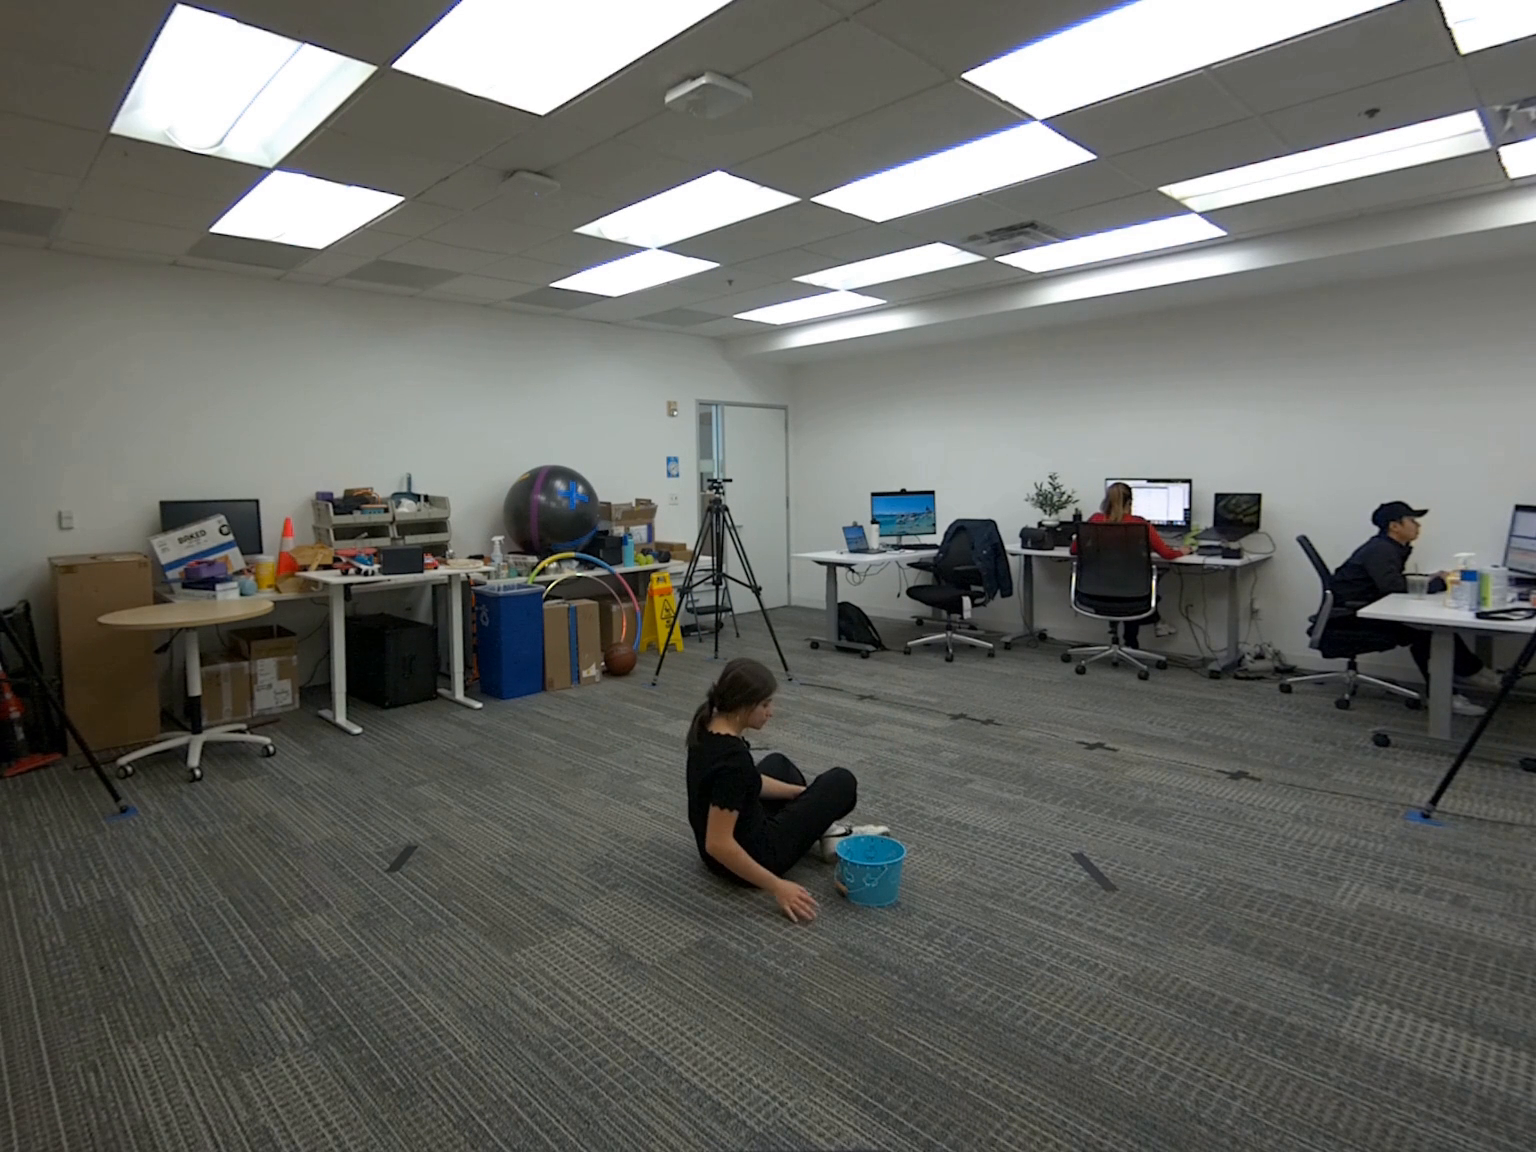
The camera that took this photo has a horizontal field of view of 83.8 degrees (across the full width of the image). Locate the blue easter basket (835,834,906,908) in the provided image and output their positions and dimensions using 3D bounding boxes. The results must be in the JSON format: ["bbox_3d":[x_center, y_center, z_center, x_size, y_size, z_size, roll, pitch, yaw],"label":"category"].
[{"bbox_3d":[0.339,0.982,2.853,0.243,0.155,0.245,-1,5,-2],"label":"blue easter basket"}]
